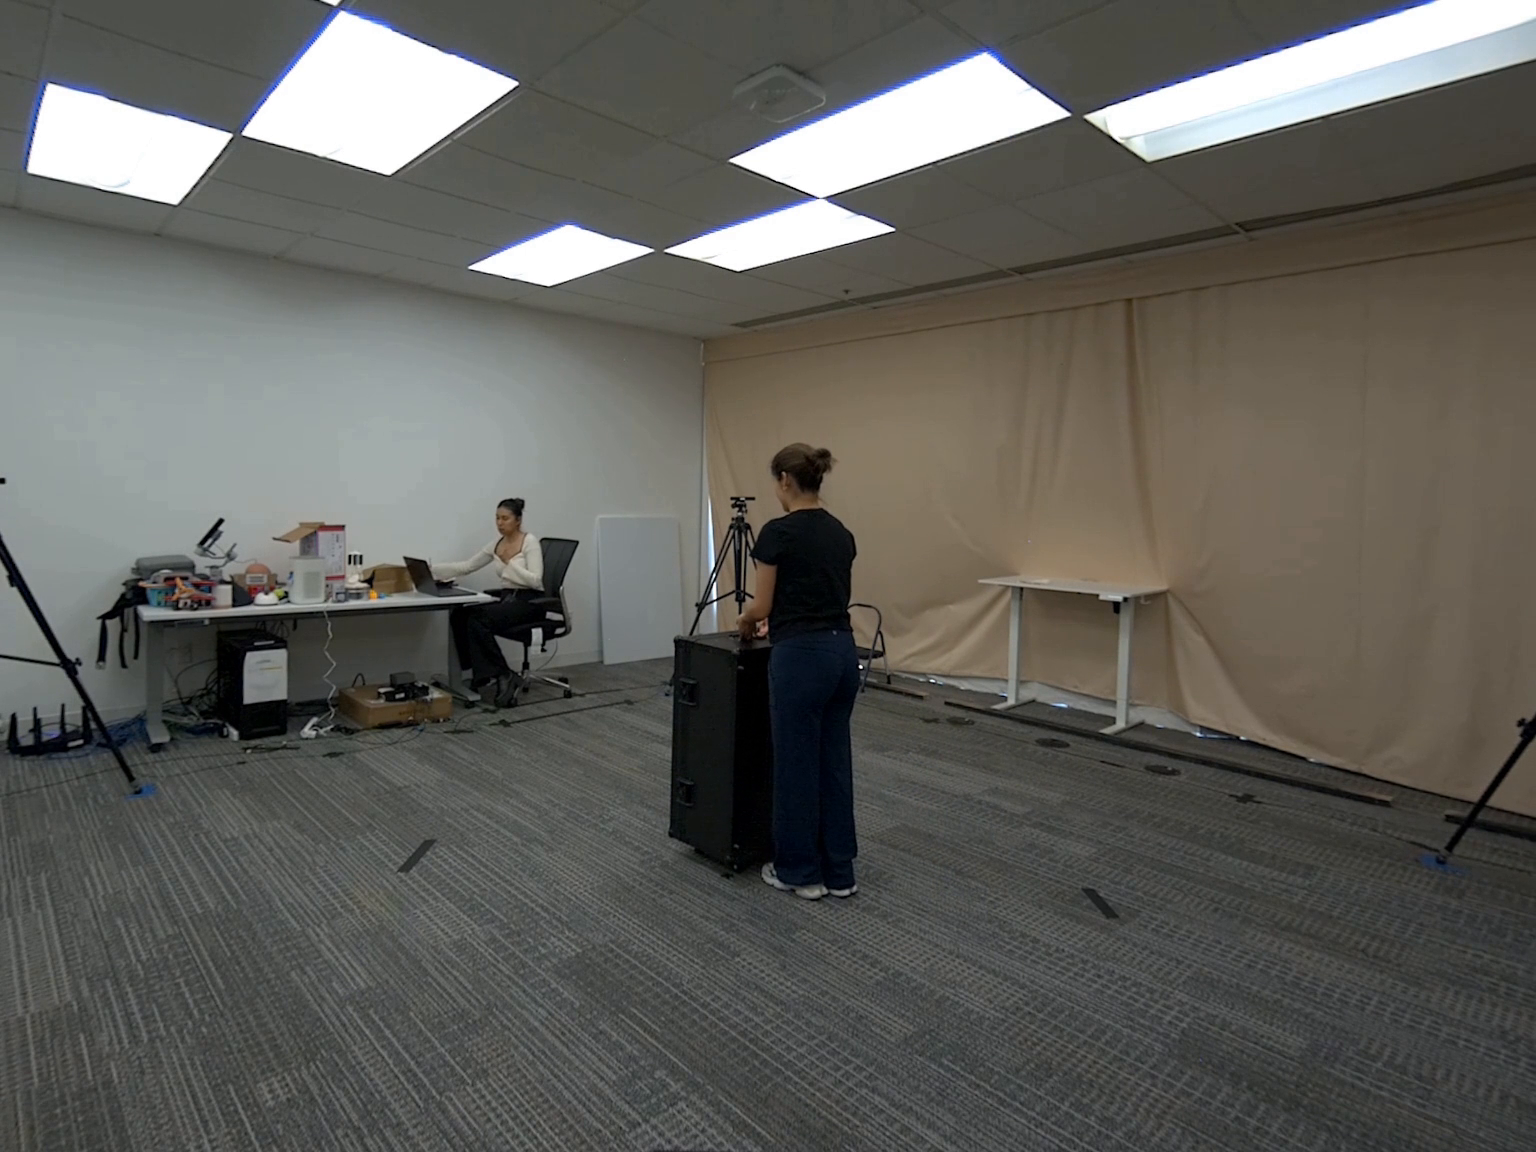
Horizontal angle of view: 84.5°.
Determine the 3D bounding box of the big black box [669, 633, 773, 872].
[{"bbox_3d":[-0.075,0.668,3.281,0.406,0.859,0.509,6,6,44],"label":"big black box"}]
